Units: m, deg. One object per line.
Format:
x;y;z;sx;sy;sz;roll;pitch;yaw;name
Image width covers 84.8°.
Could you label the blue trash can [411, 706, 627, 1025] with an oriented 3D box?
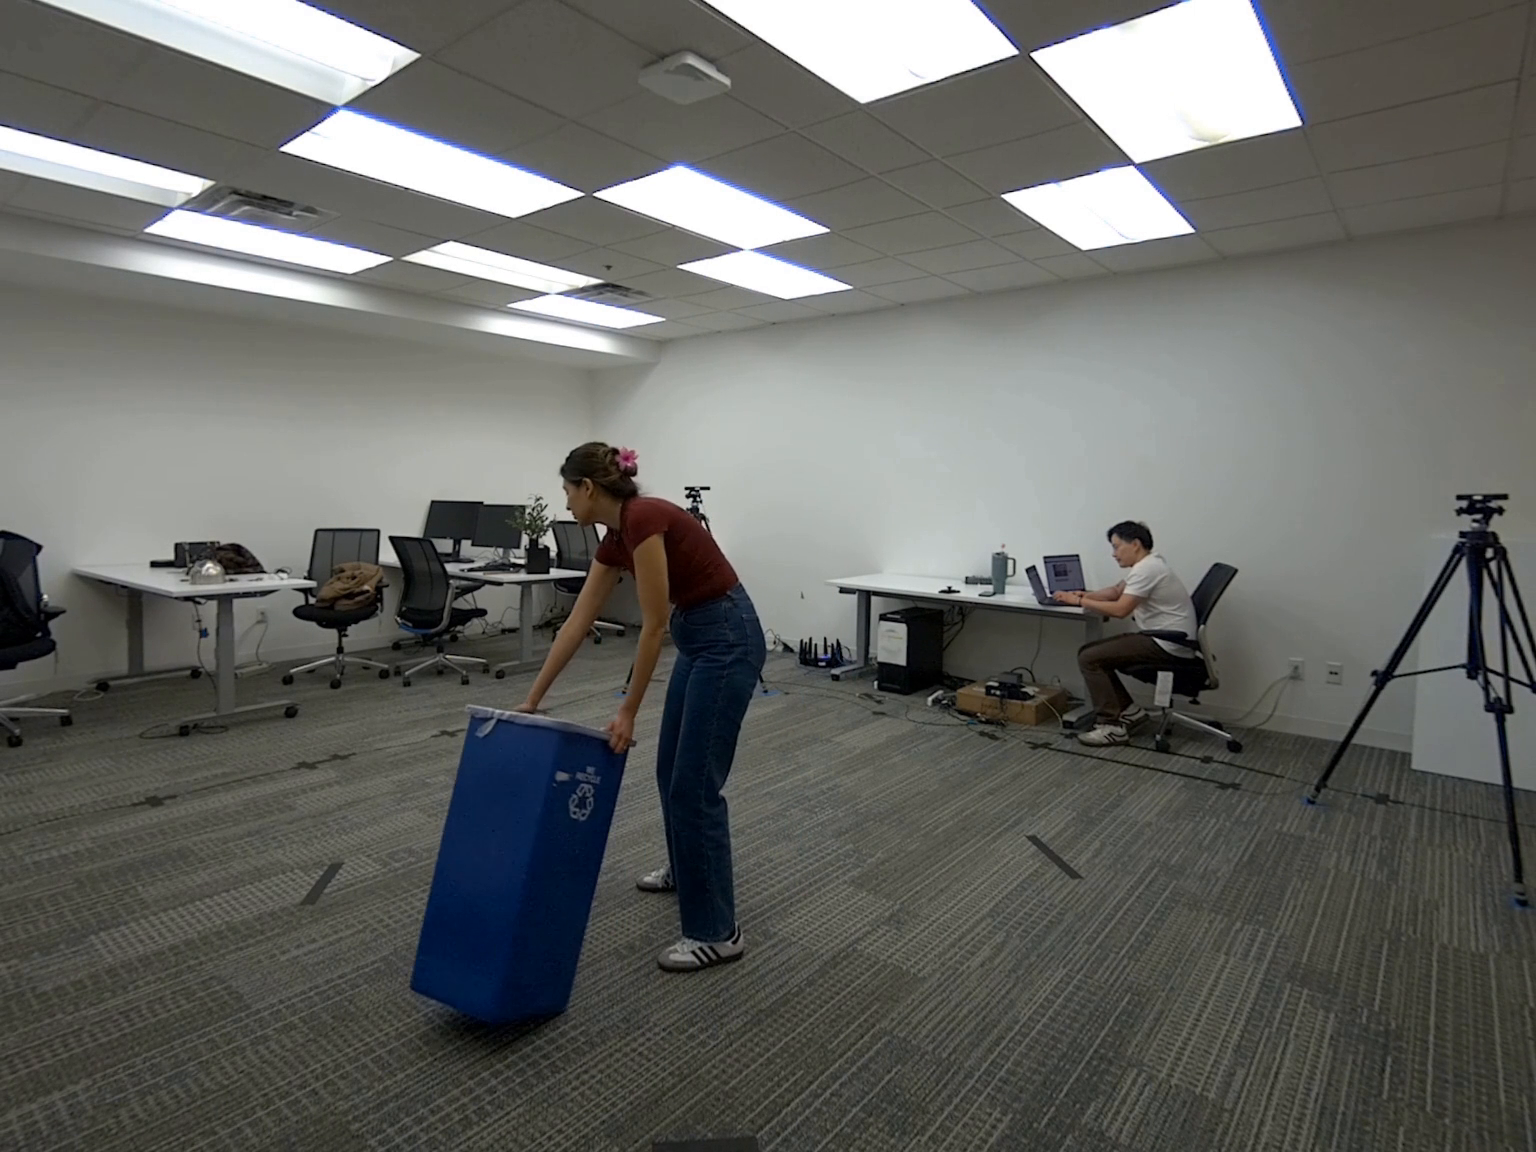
-0.674;0.757;2.322;0.388;0.722;0.360;1;-17;26;blue trash can
